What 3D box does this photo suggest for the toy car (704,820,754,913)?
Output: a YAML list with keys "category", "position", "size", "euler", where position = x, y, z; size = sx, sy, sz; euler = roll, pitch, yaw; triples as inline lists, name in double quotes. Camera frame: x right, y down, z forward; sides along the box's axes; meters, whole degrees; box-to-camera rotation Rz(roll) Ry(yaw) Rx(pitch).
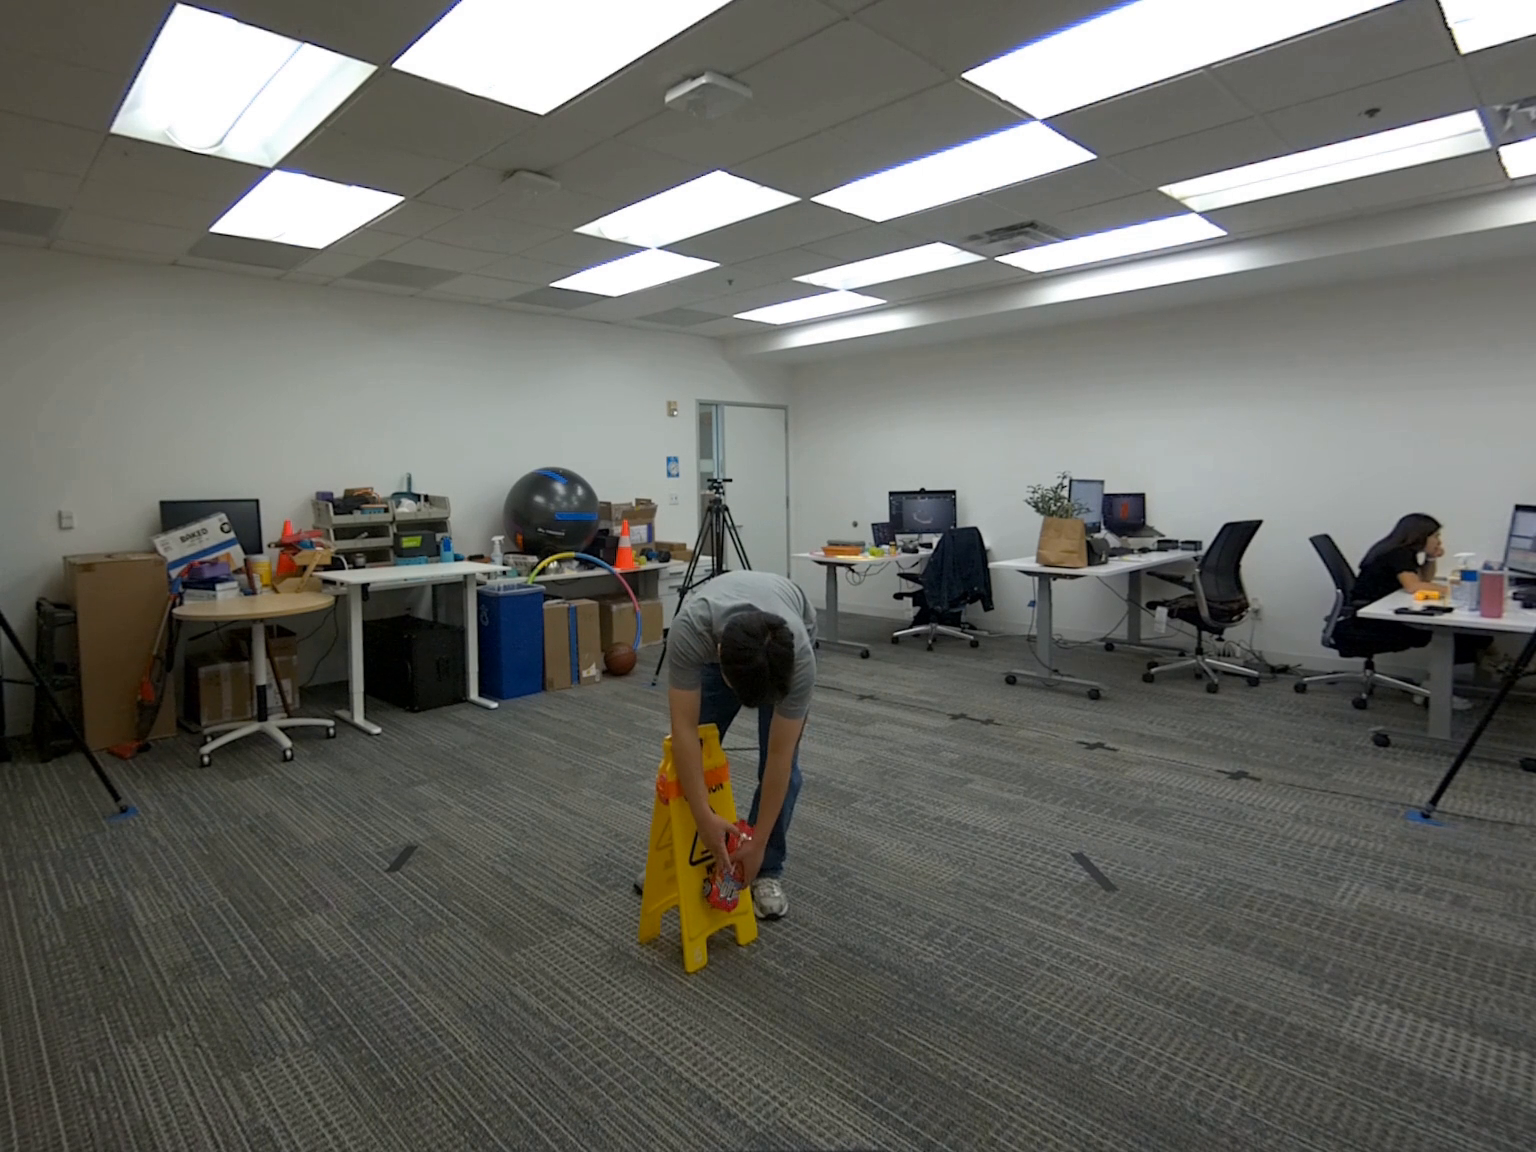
- category: "toy car"
  position: [-0.109, 0.853, 2.514]
  size: [0.126, 0.256, 0.085]
  euler: [38, -22, -30]
